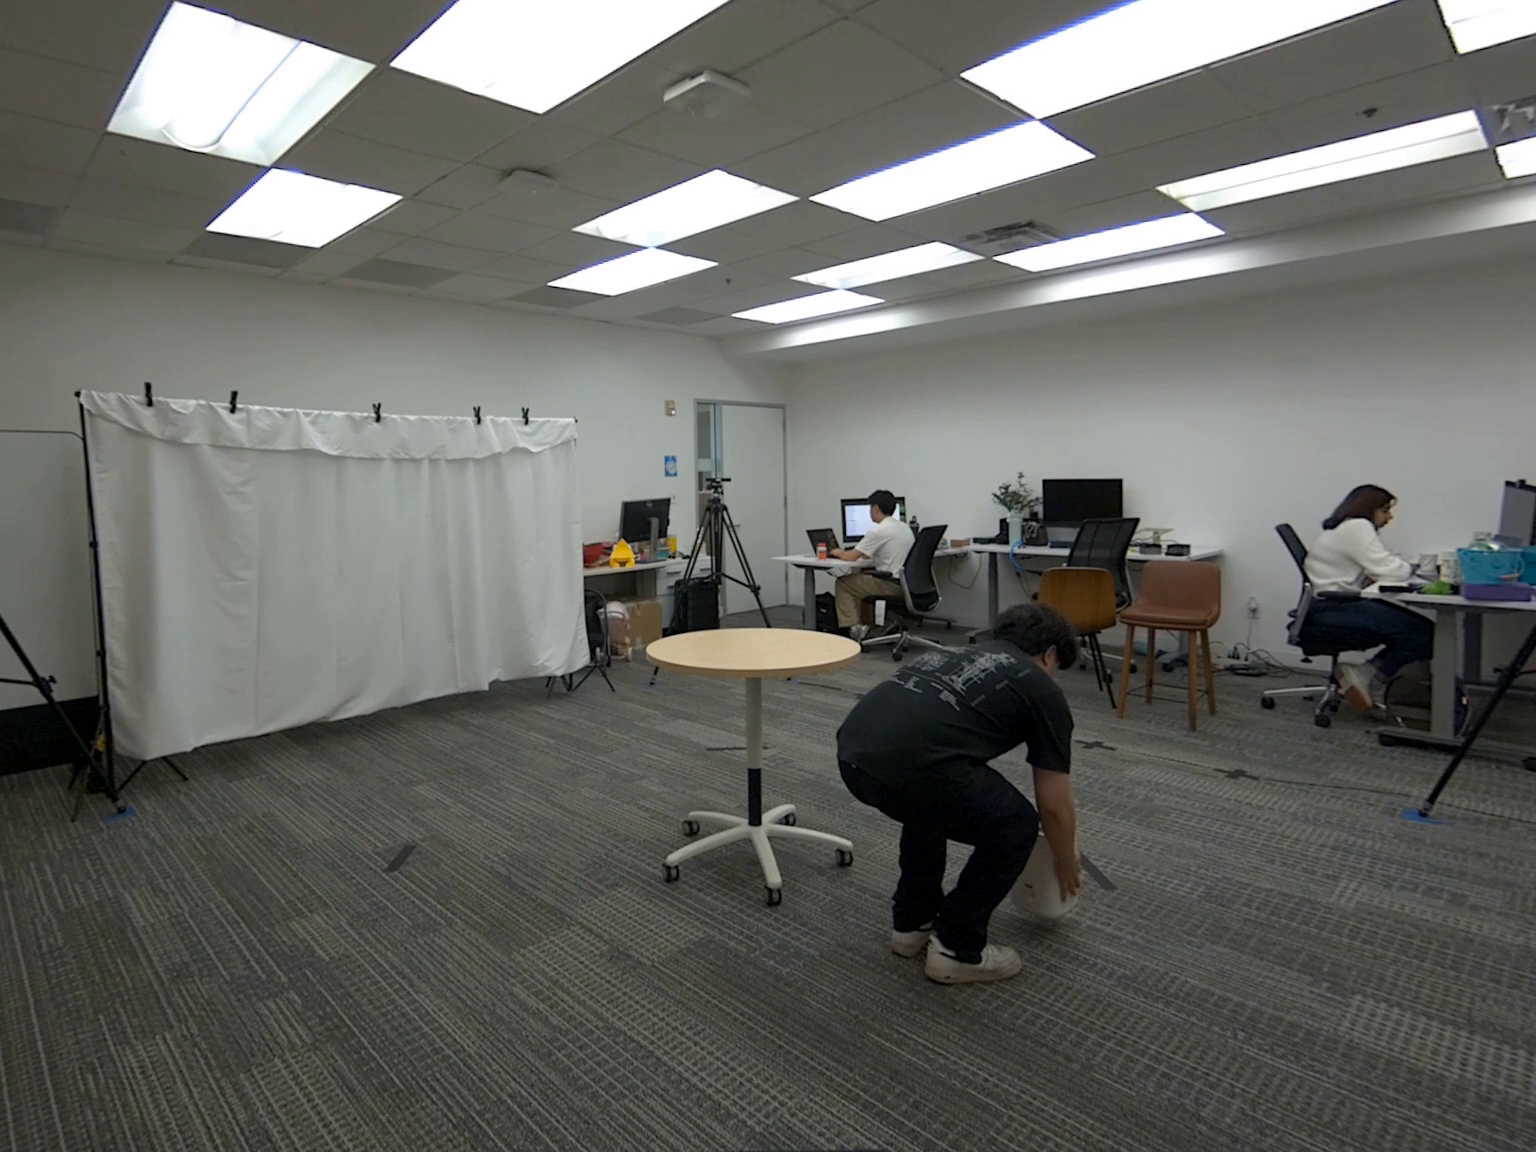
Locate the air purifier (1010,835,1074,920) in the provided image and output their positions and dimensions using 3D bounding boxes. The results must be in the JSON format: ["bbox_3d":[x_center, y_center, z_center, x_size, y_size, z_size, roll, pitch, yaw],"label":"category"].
[{"bbox_3d":[0.856,0.875,2.627,0.176,0.264,0.167,3,7,44],"label":"air purifier"}]
